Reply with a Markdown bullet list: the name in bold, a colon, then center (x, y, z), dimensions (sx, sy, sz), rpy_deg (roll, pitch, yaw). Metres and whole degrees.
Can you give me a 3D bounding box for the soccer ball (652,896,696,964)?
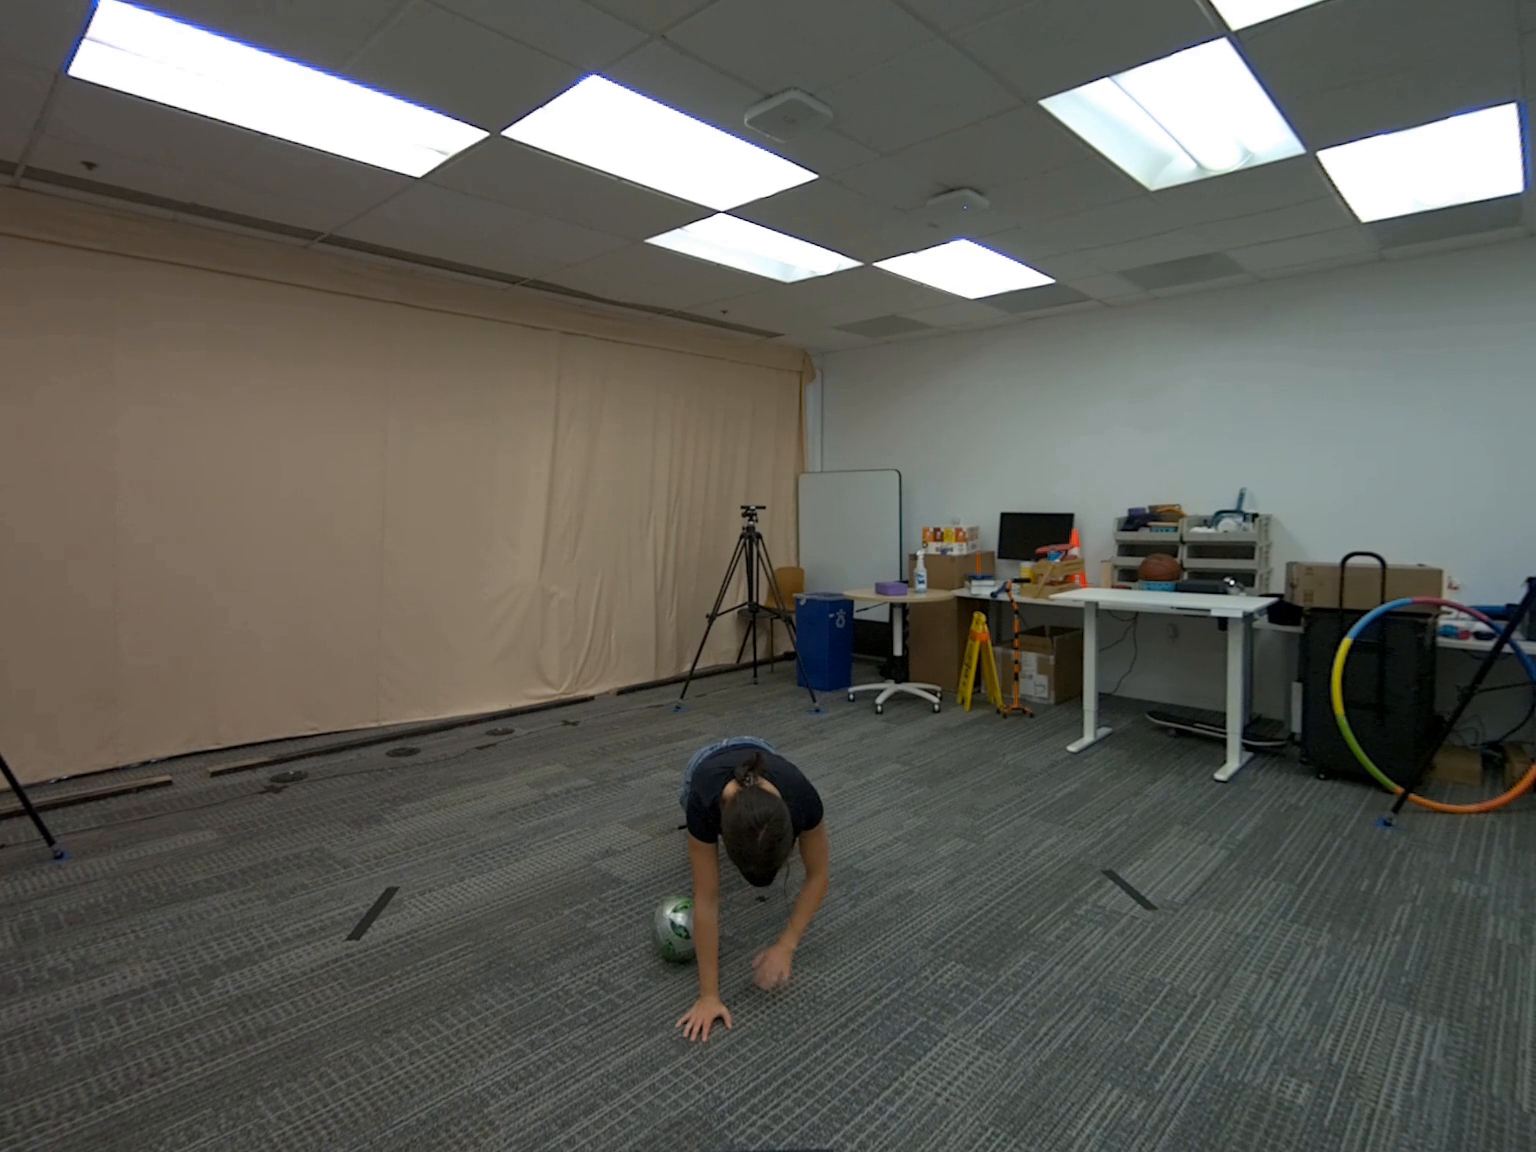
- **soccer ball**: center (-0.280, 1.070, 2.604), dimensions (0.187, 0.187, 0.188), rpy_deg (0, 4, -2)
